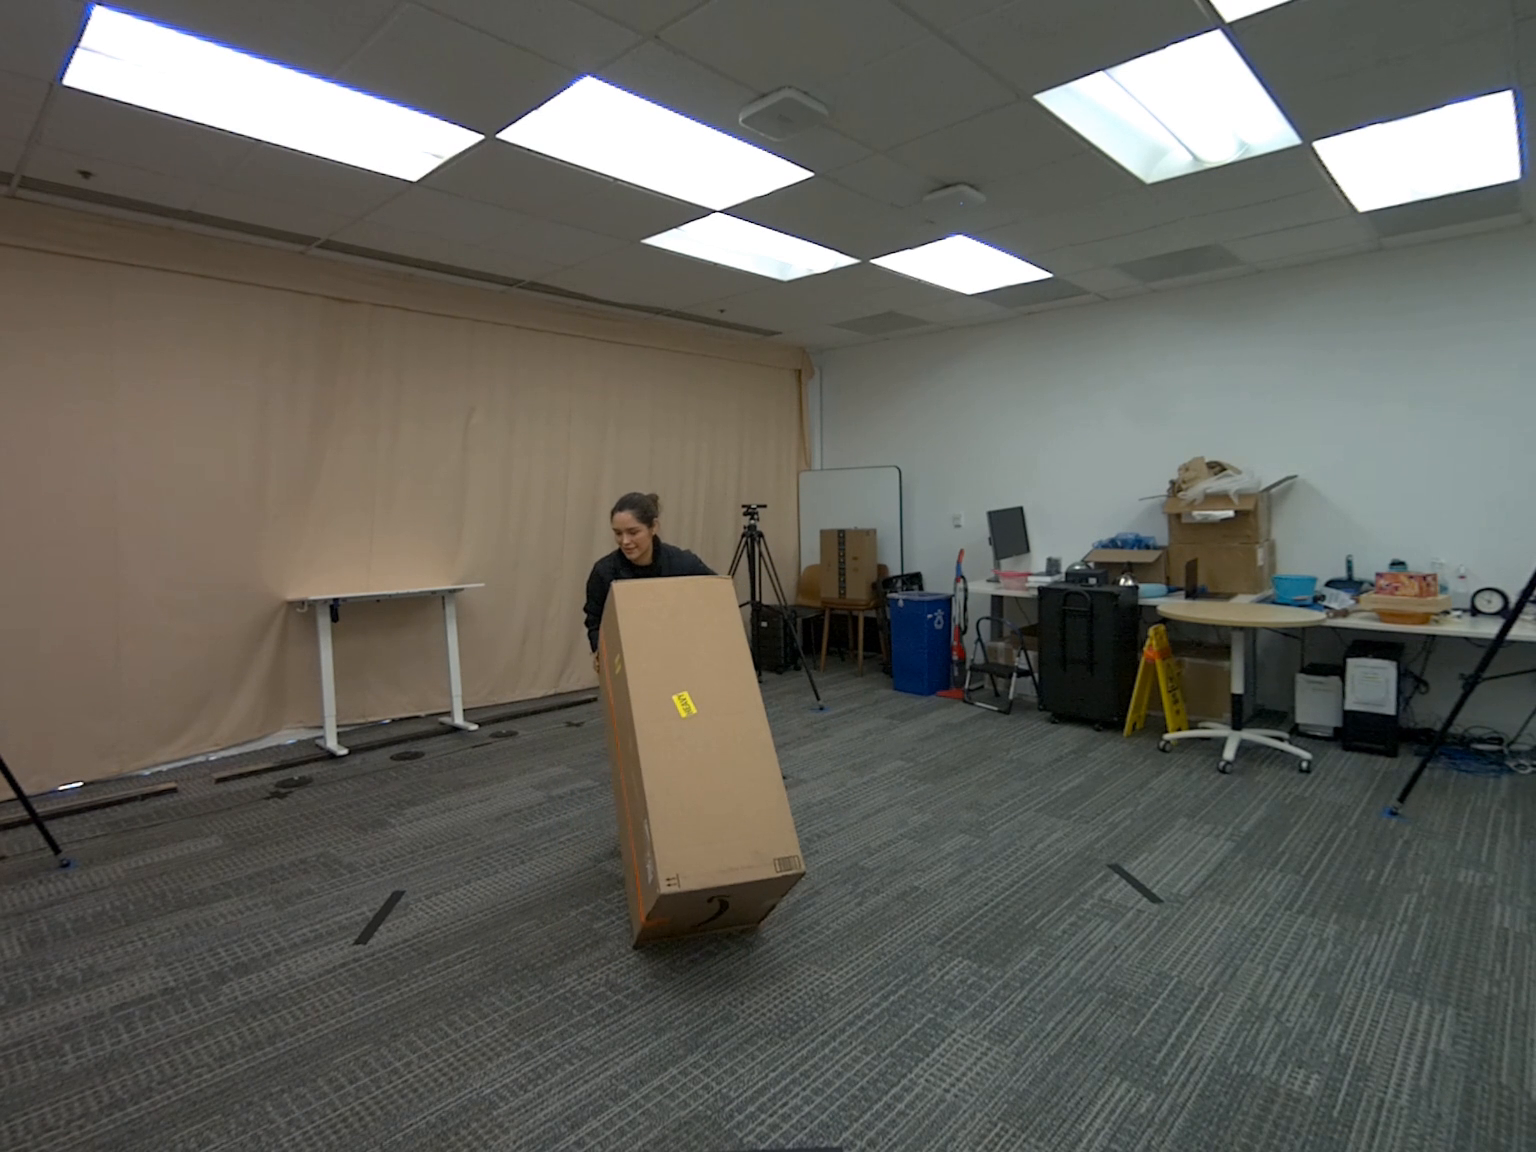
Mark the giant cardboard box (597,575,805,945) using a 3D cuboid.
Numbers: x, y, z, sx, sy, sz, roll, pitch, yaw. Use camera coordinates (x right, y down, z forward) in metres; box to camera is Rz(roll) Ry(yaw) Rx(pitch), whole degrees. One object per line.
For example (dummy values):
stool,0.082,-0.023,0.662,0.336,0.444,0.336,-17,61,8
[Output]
giant cardboard box,-0.255,0.584,2.797,0.439,1.053,0.580,-4,-36,-18
